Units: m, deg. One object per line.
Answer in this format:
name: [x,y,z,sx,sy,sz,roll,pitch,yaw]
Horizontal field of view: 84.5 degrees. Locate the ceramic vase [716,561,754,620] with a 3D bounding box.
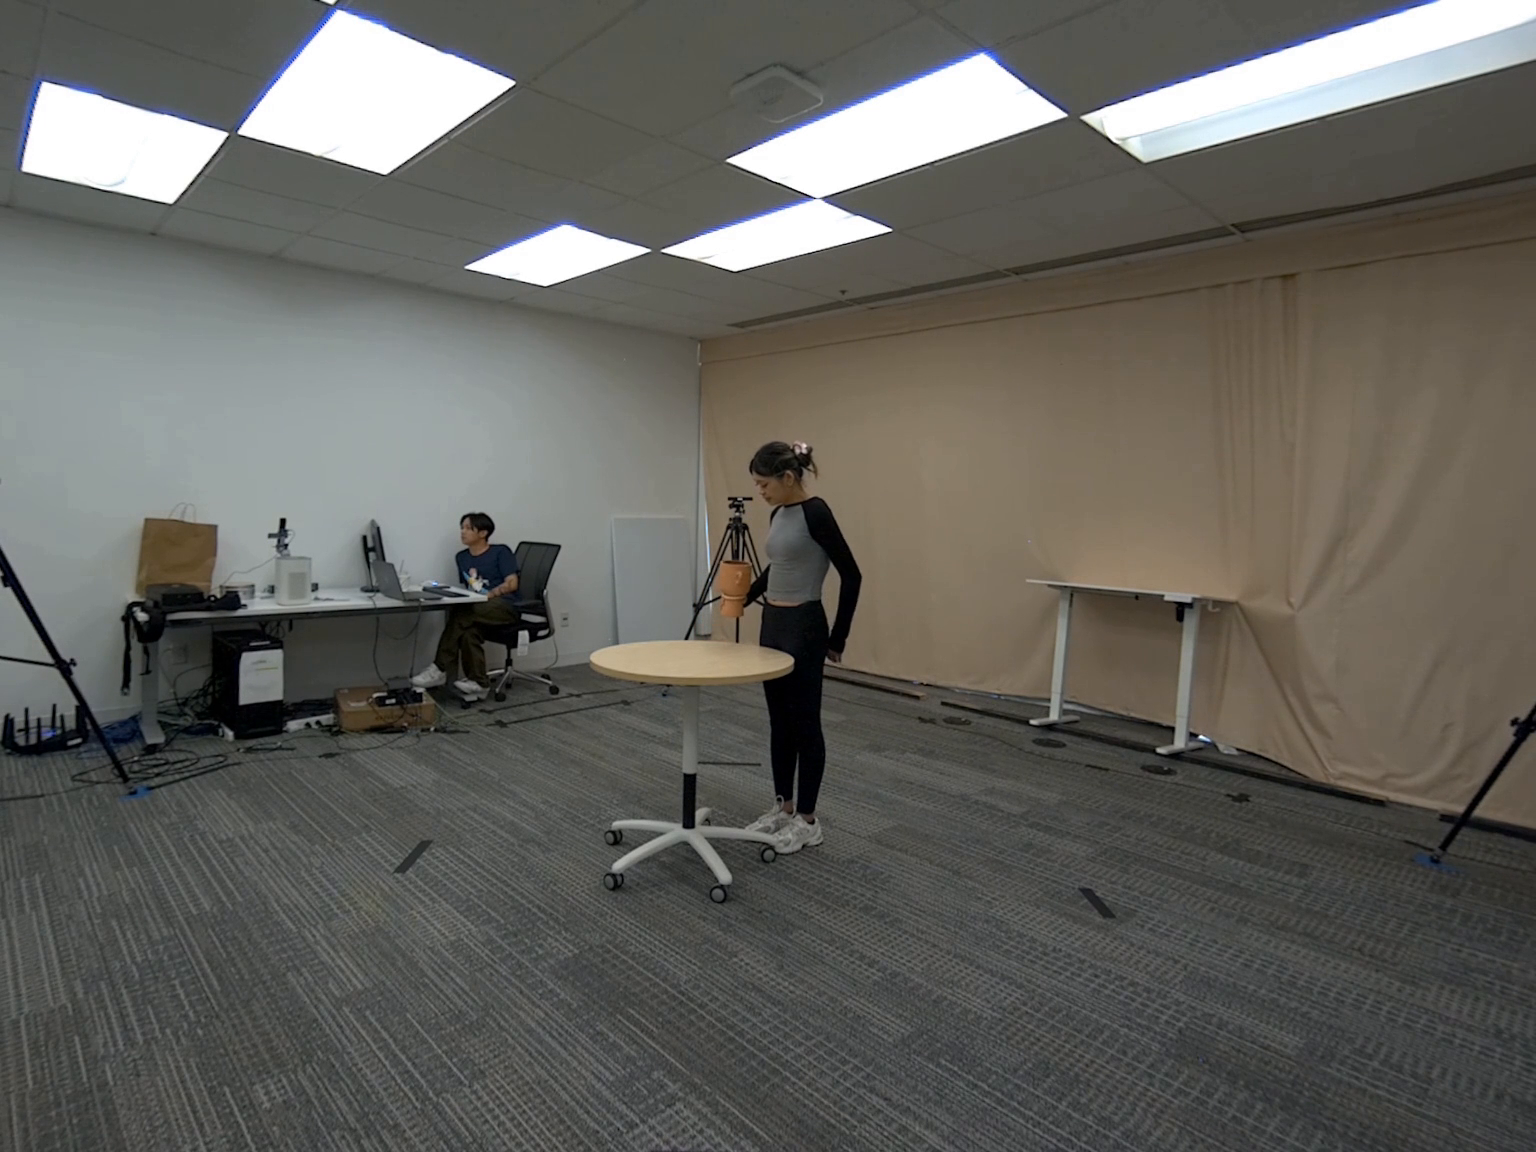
ceramic vase: [-0.140,0.054,3.487,0.138,0.218,0.156,9,9,29]
